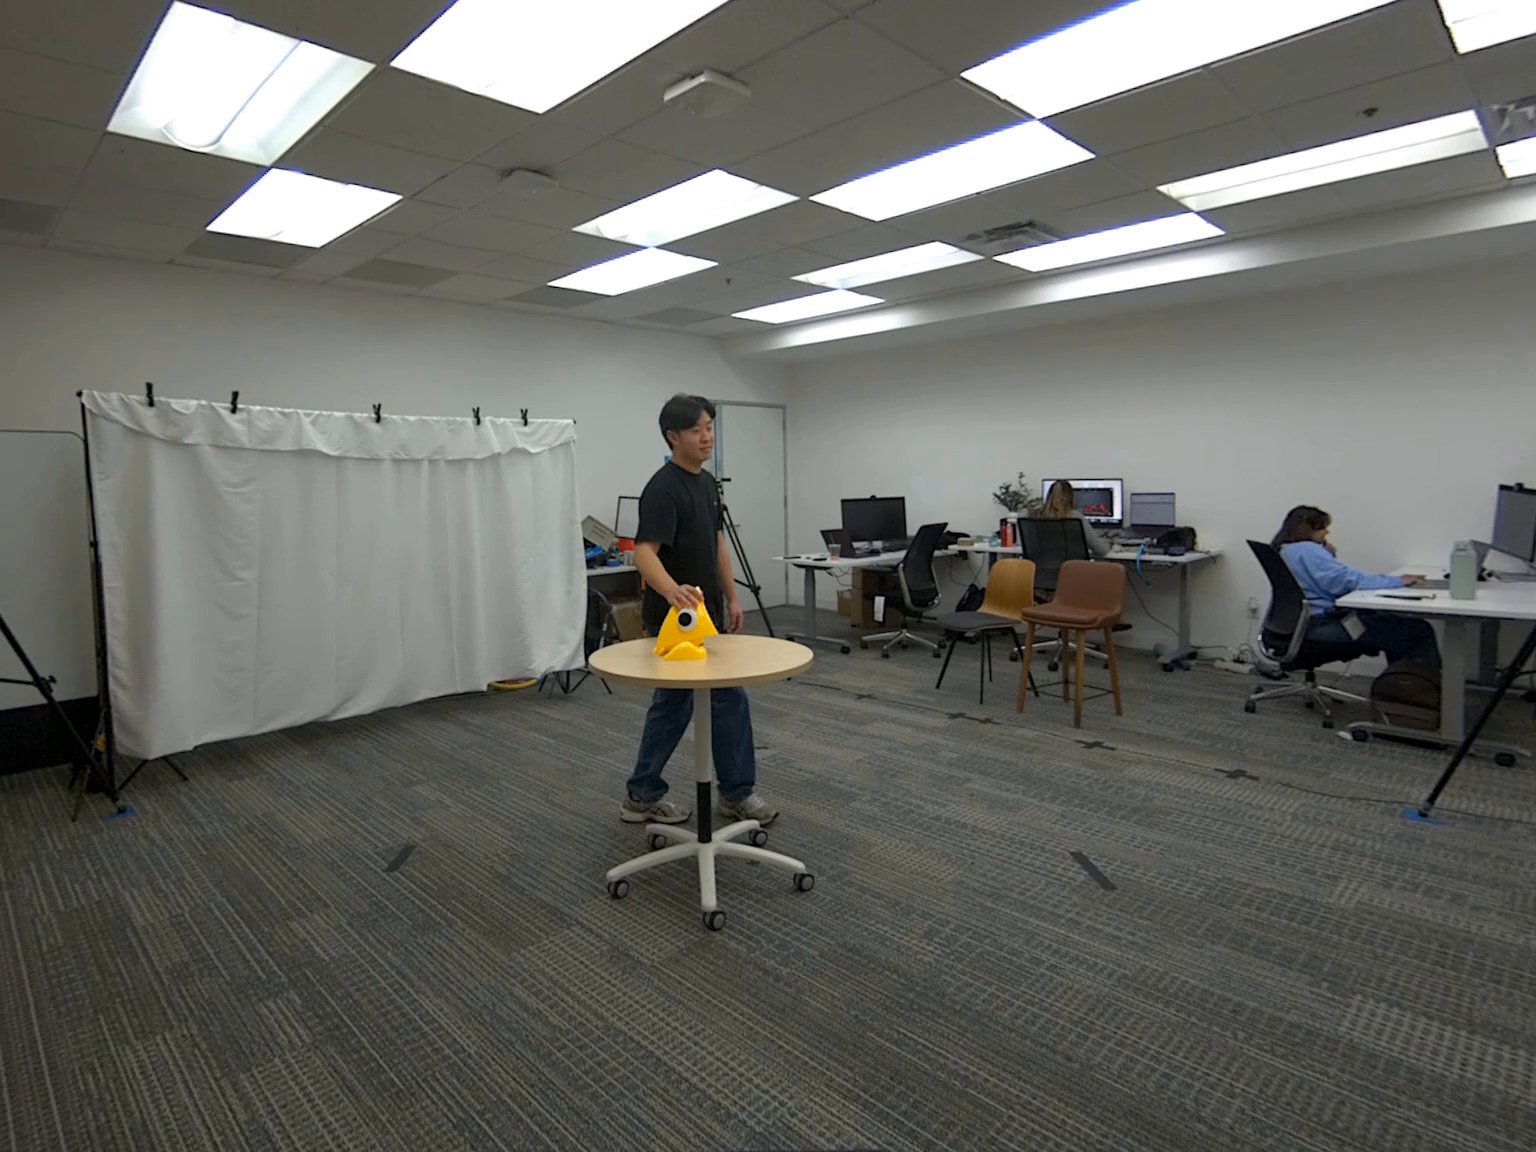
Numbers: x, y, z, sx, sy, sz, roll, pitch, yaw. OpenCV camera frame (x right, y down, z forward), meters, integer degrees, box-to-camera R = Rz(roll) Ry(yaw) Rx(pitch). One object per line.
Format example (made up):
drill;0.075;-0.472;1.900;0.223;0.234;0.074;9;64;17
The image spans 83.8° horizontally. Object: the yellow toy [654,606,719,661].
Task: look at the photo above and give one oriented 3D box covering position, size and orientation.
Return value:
yellow toy;-0.293;0.160;2.932;0.189;0.230;0.209;-3;4;-24
